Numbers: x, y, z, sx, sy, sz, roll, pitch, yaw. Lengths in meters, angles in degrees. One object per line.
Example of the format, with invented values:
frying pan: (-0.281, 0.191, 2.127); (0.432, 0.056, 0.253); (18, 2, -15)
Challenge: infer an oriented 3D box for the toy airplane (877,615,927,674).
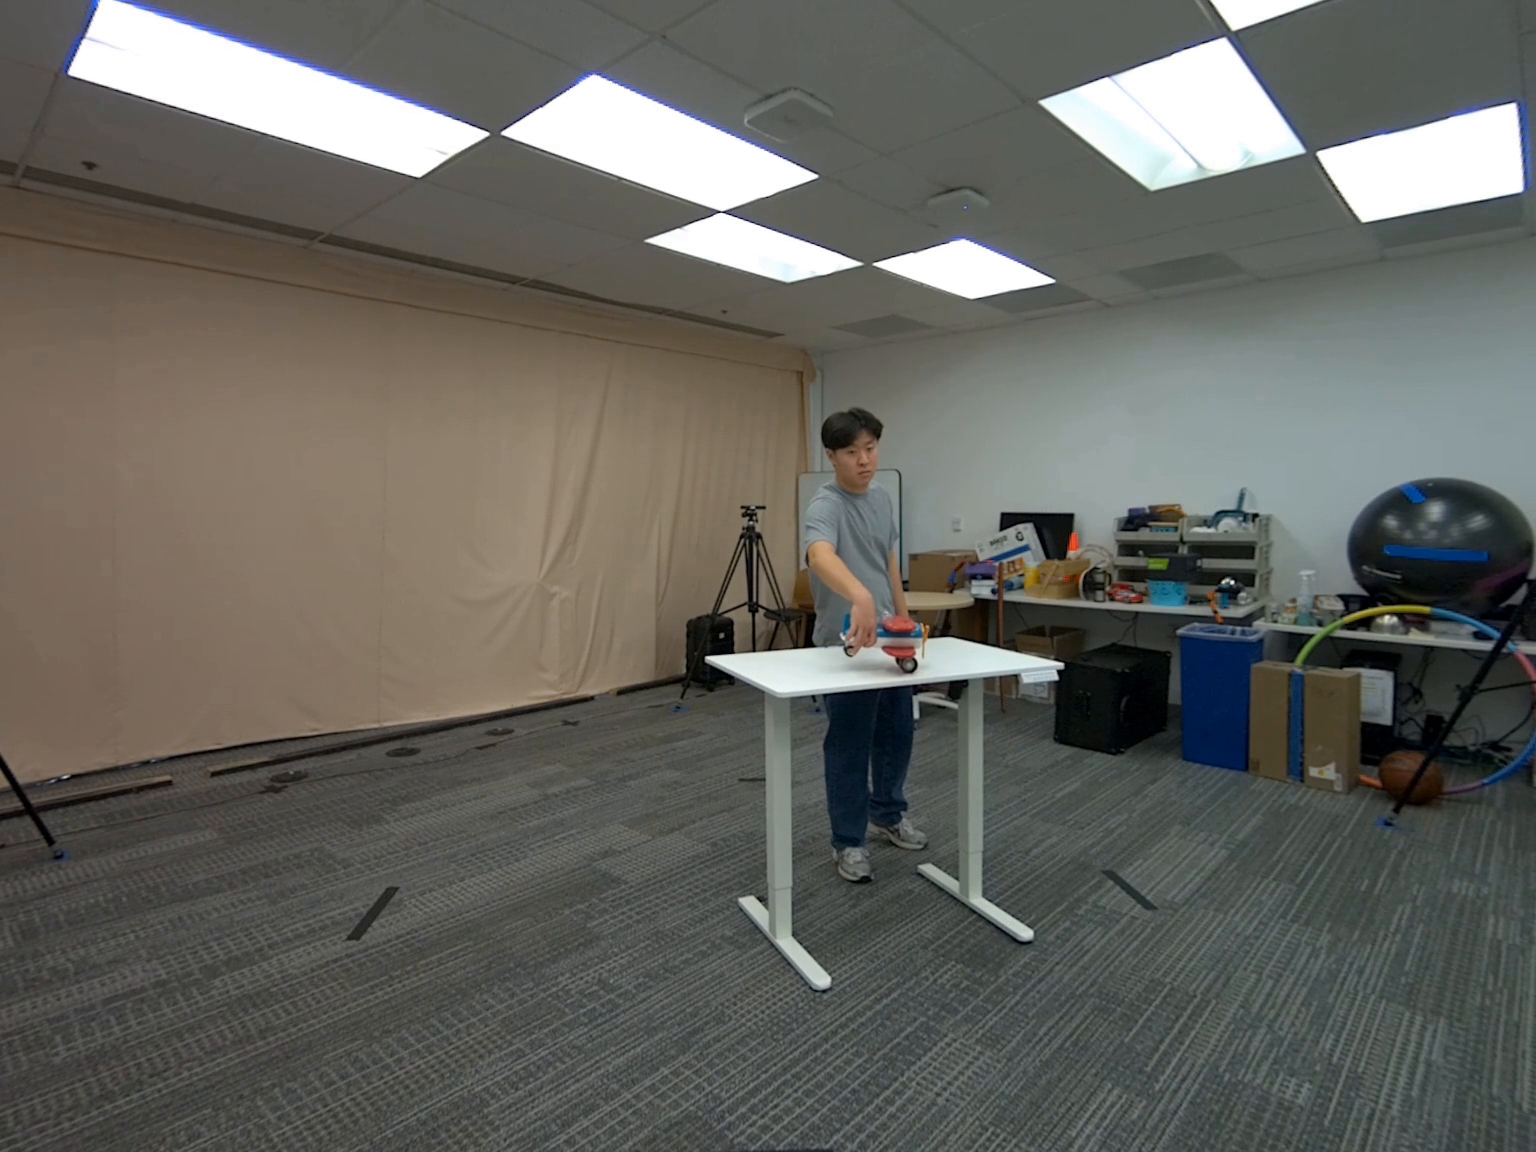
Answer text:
toy airplane: (0.363, 0.199, 2.582); (0.252, 0.156, 0.258); (13, 4, -26)
